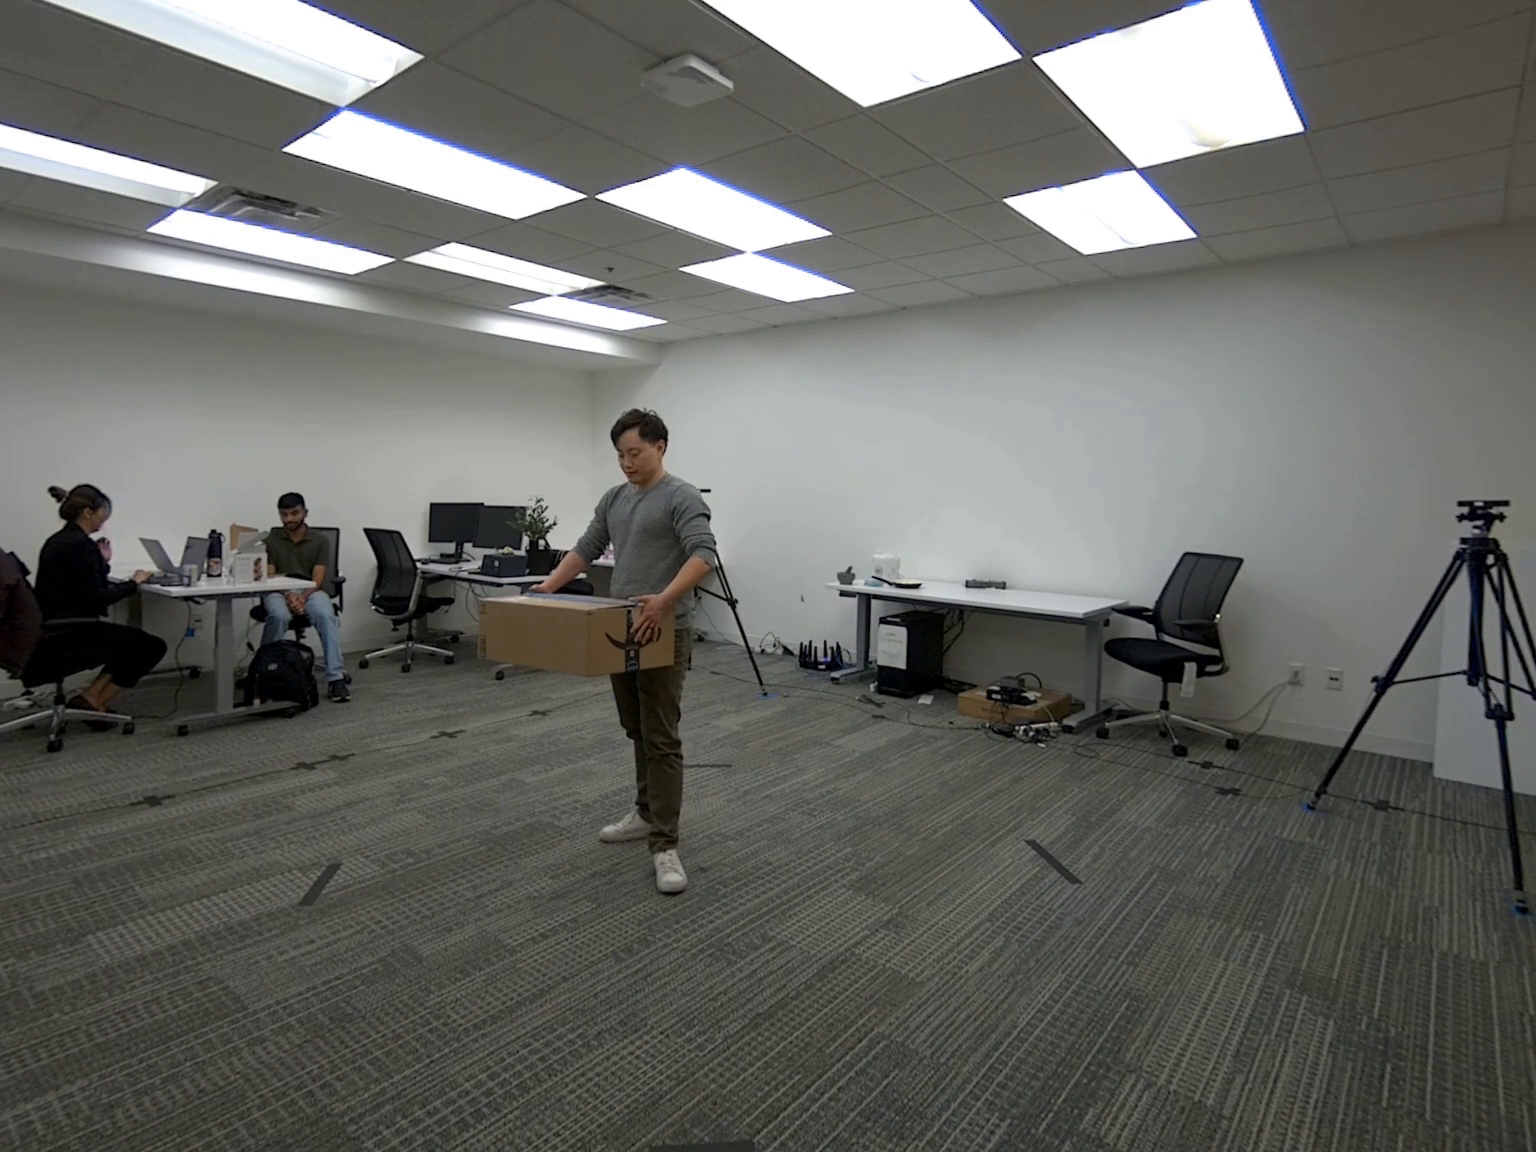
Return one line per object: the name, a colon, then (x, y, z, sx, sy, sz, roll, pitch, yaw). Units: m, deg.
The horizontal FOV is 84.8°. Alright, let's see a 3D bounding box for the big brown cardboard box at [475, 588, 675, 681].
big brown cardboard box: (-0.690, 0.188, 3.007, 0.608, 0.233, 0.405, 4, 3, 36)
